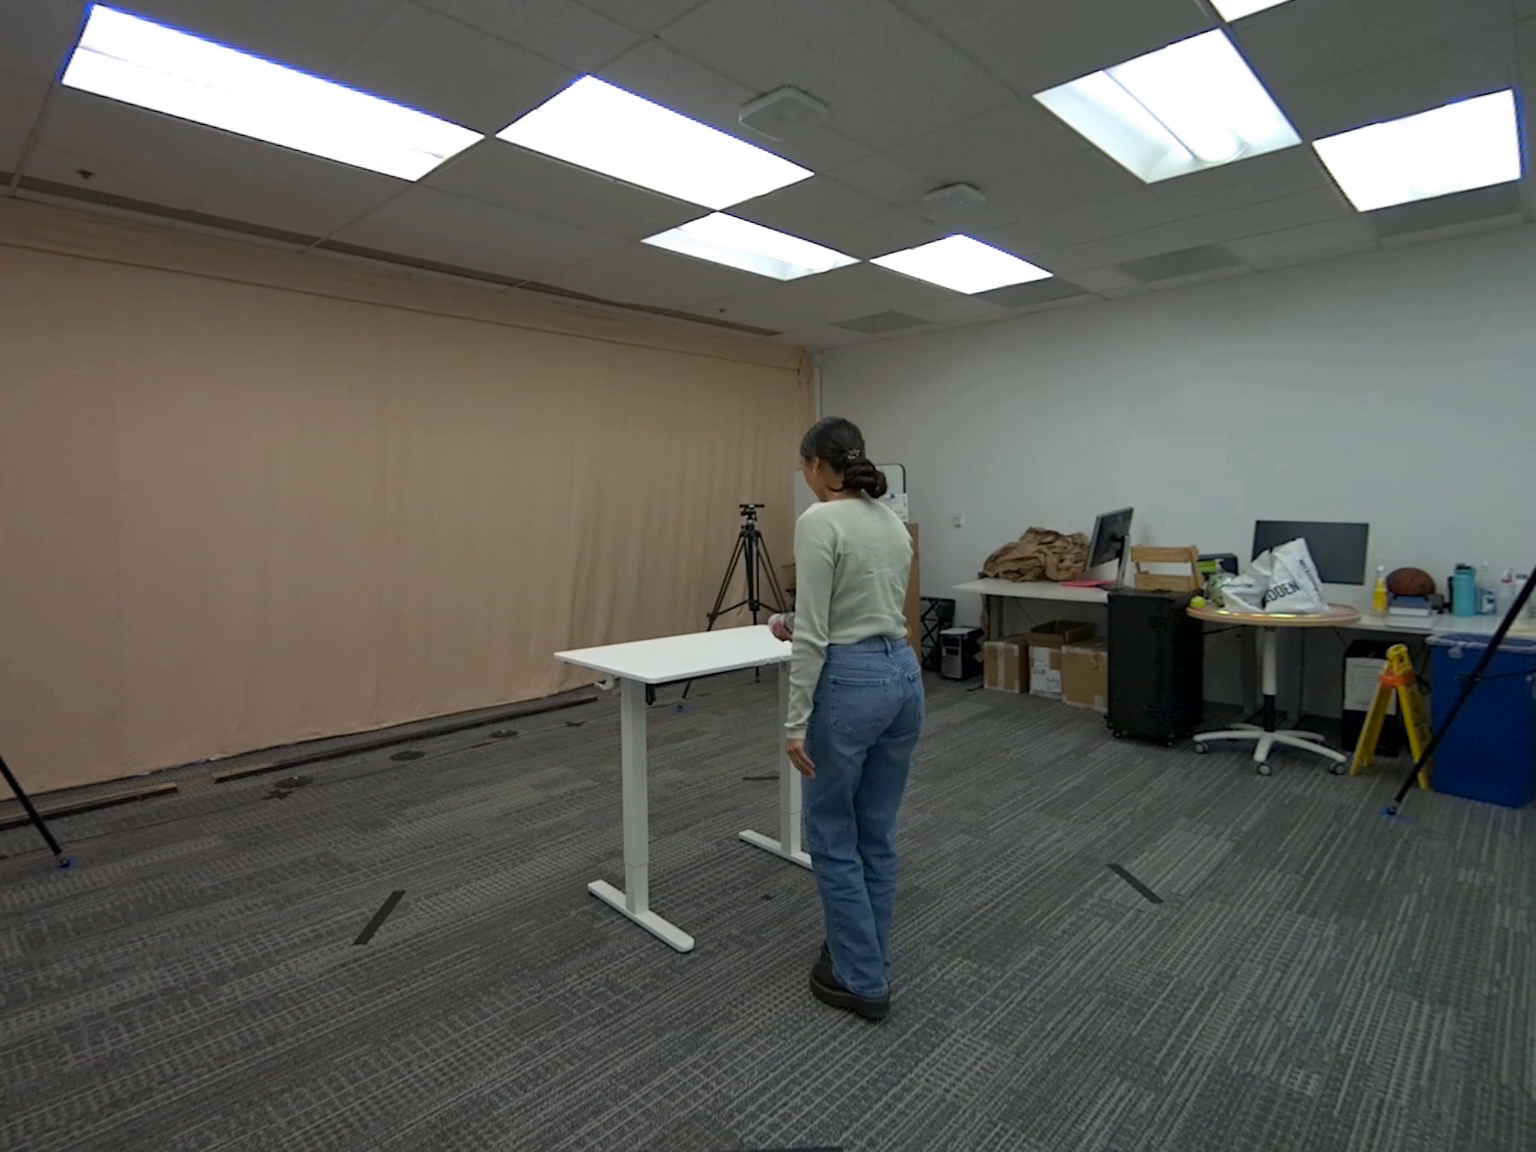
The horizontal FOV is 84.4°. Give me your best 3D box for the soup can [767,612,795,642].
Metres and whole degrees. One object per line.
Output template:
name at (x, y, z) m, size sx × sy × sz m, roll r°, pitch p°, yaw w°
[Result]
soup can at (0.043, 0.153, 2.686) m, size 0.067 × 0.067 × 0.122 m, roll -1°, pitch 2°, yaw -5°
